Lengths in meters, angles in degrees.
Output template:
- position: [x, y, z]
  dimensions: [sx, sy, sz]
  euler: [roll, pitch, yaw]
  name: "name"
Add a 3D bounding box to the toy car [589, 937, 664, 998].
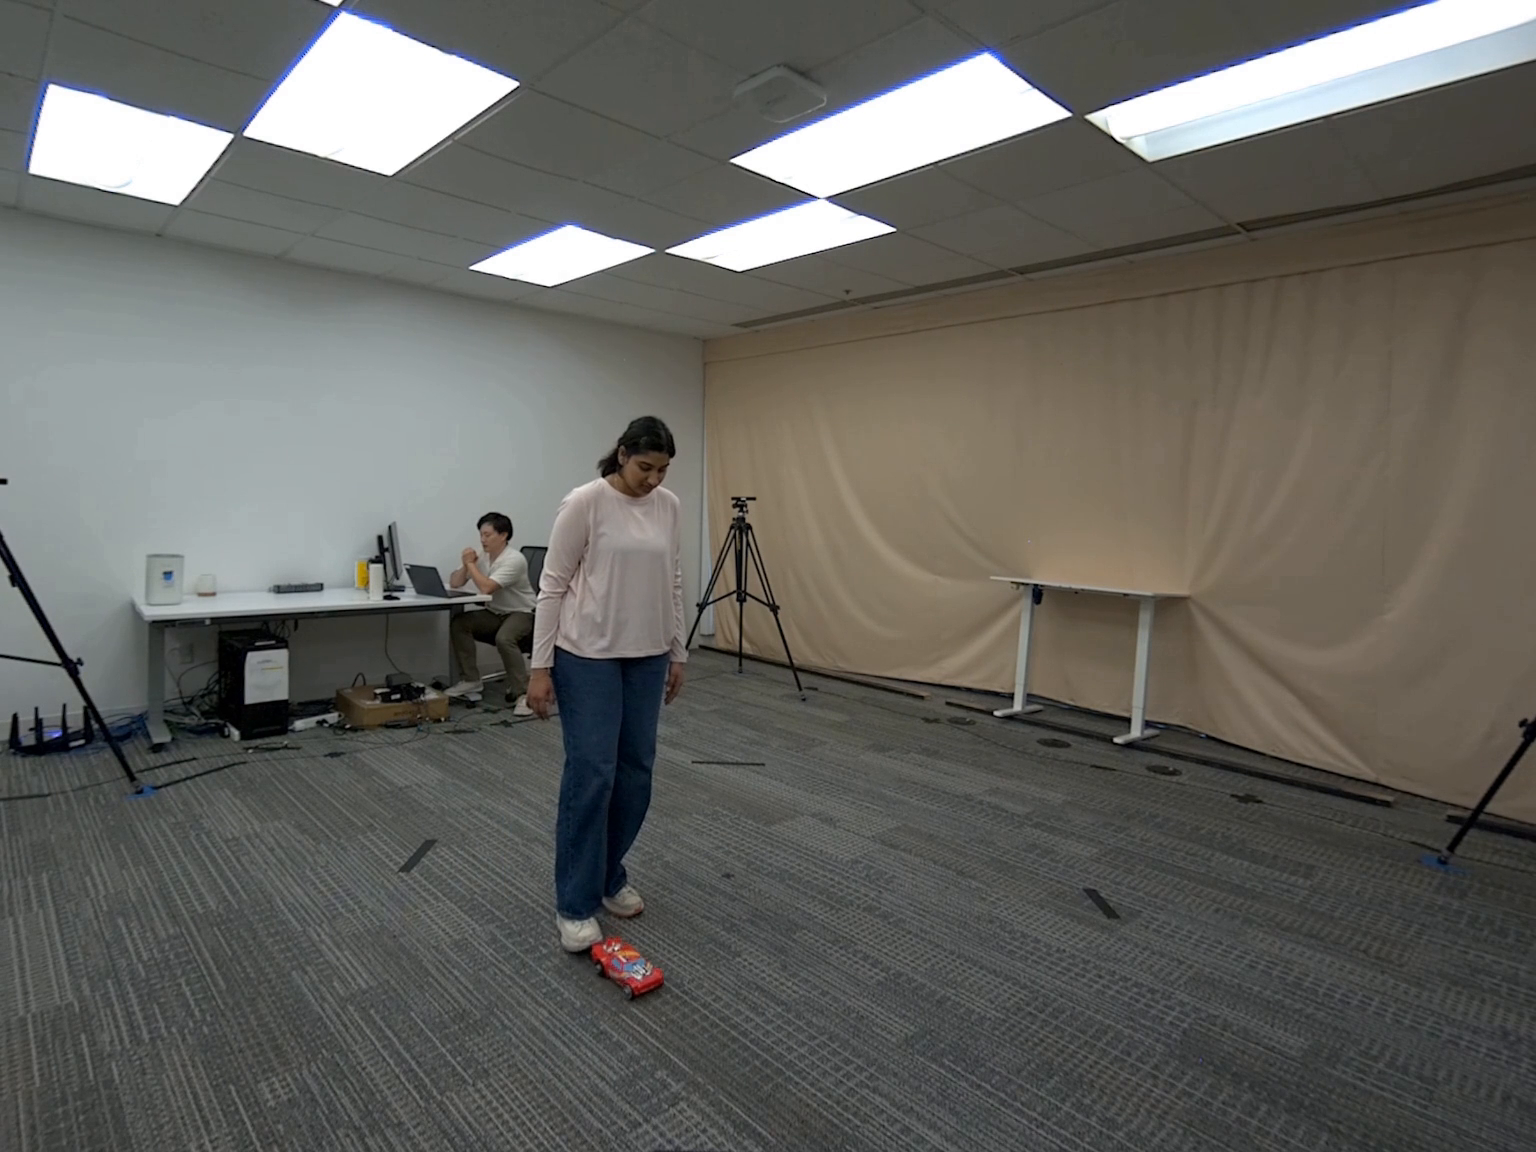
- position: [-0.419, 1.130, 2.430]
  dimensions: [0.127, 0.082, 0.262]
  euler: [-4, 18, -41]
  name: "toy car"
